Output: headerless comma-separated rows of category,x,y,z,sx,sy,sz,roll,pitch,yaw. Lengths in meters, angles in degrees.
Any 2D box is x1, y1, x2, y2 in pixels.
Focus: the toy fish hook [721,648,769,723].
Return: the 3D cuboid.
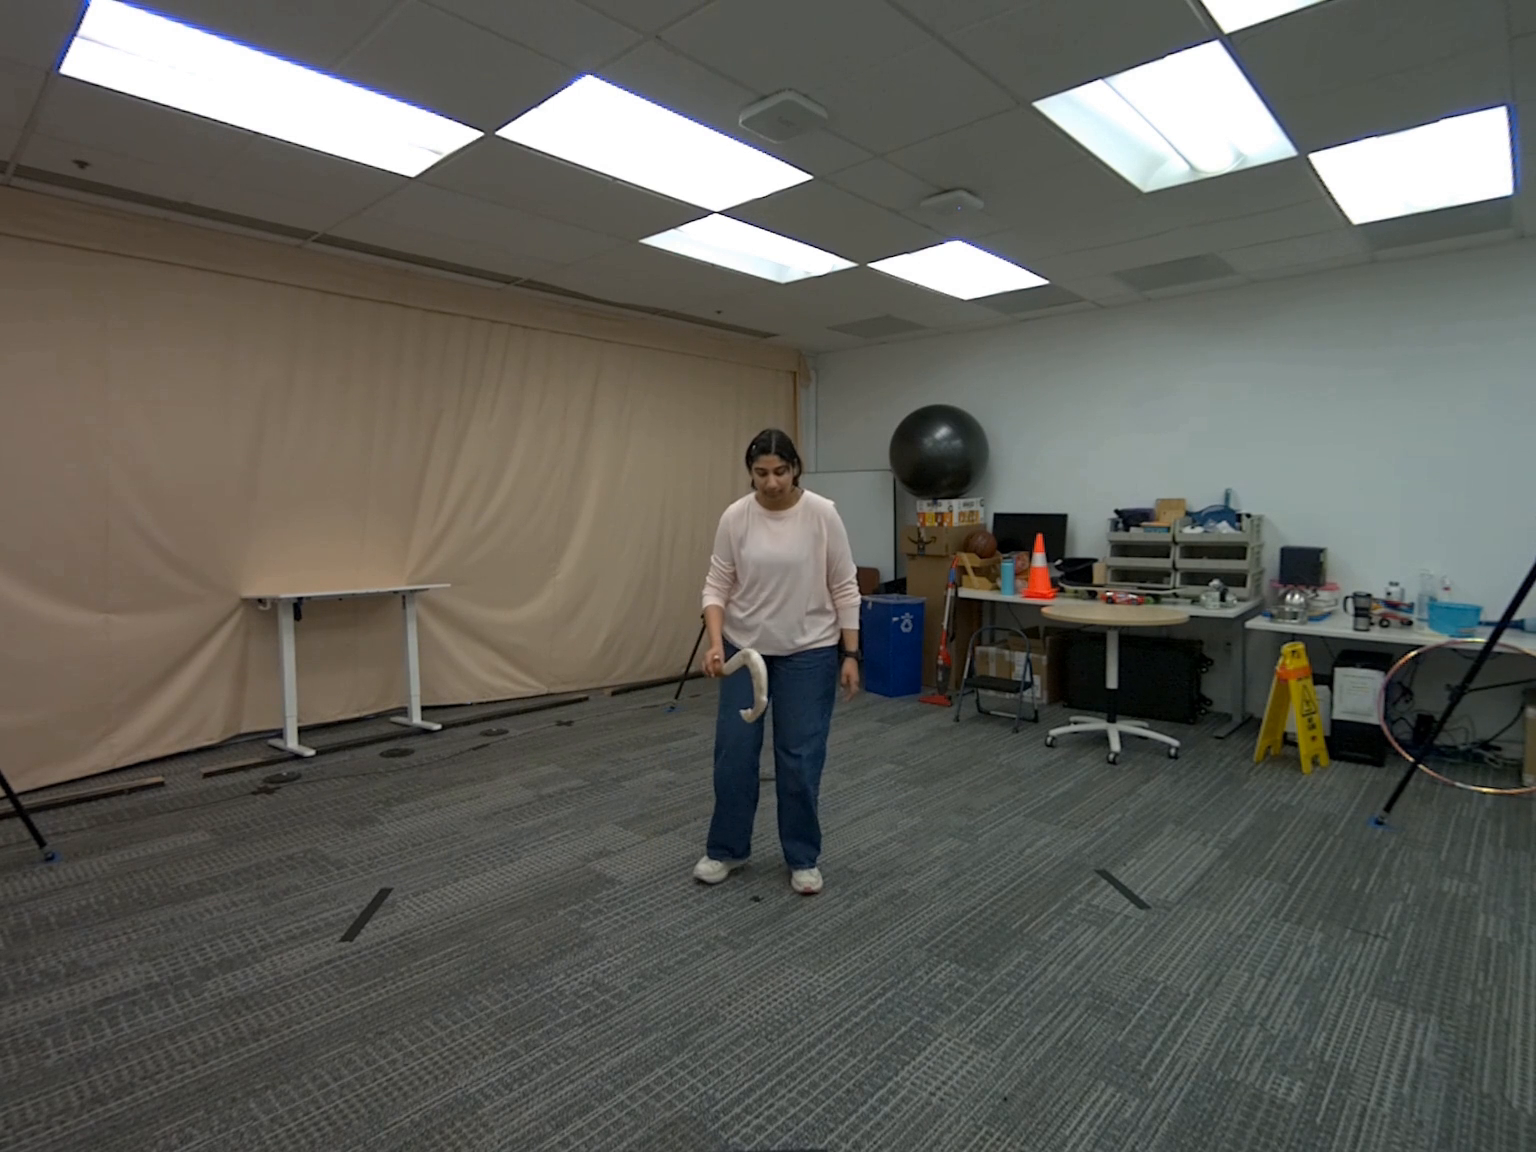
toy fish hook,-0.115,0.353,2.727,0.047,0.225,0.515,2,-7,-22
